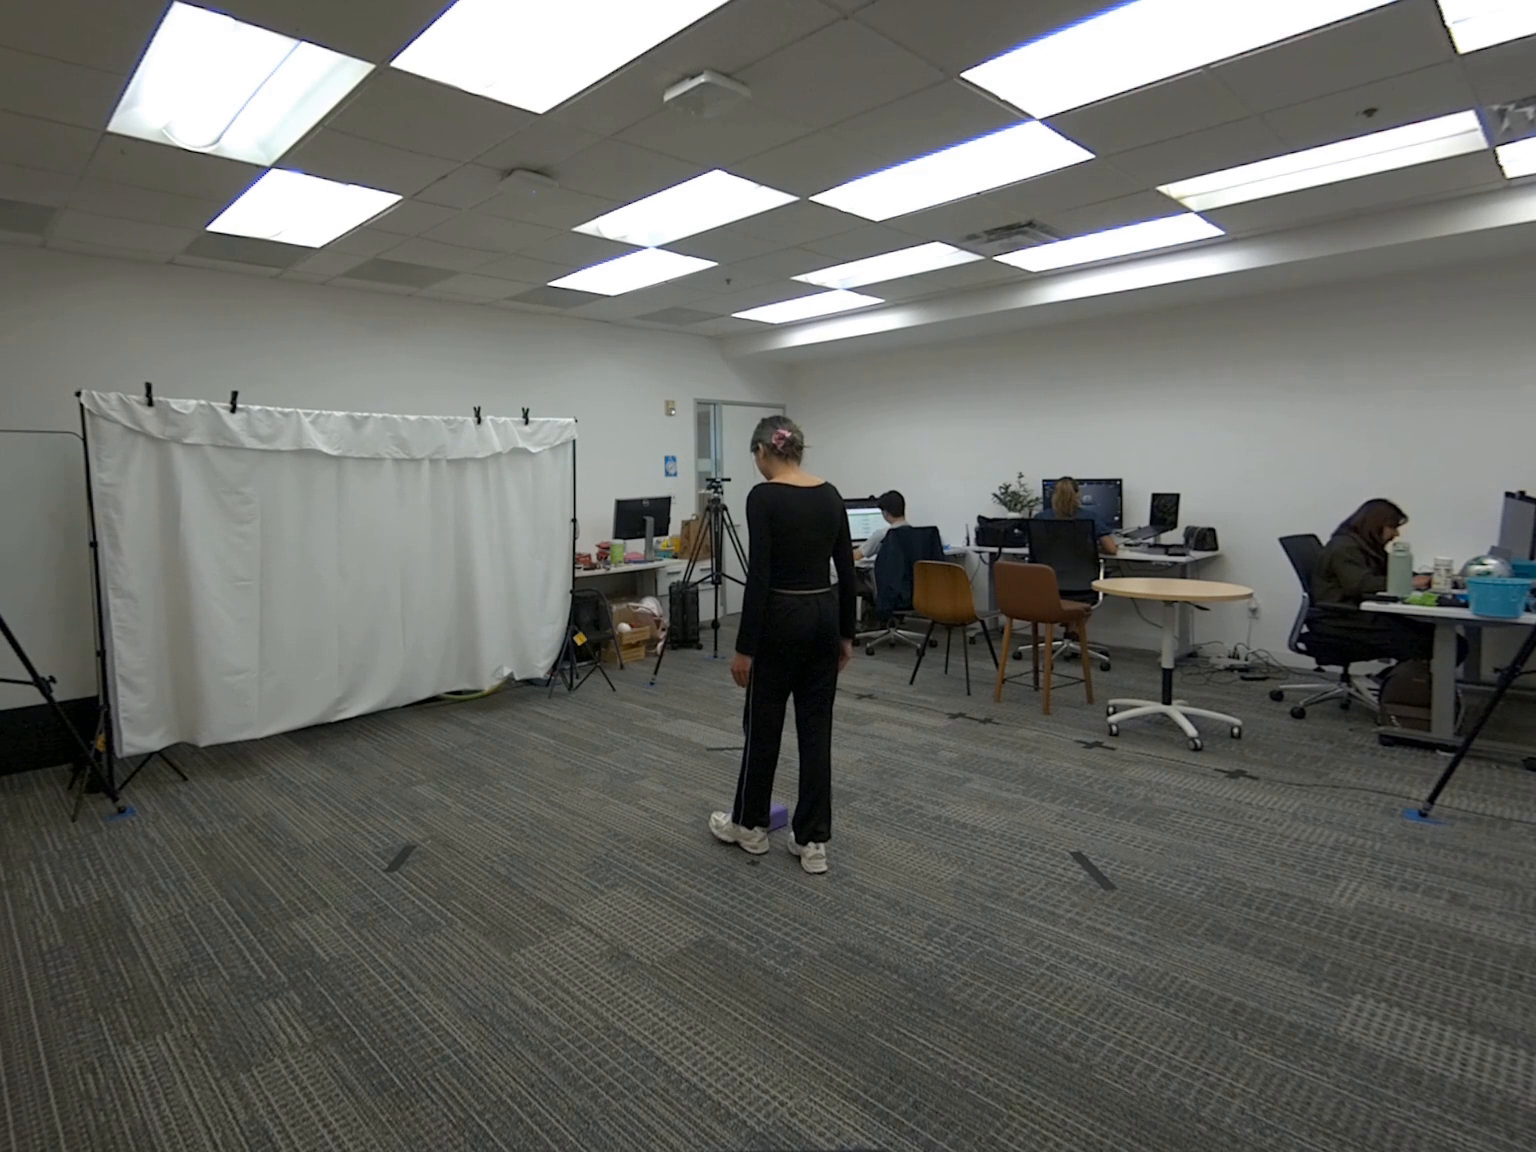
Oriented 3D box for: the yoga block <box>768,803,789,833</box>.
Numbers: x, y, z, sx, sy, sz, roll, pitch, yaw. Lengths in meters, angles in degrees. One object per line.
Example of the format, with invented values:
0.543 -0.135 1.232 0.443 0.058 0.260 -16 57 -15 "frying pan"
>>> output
-0.042 0.968 3.409 0.223 0.076 0.153 -6 7 -44 "yoga block"
